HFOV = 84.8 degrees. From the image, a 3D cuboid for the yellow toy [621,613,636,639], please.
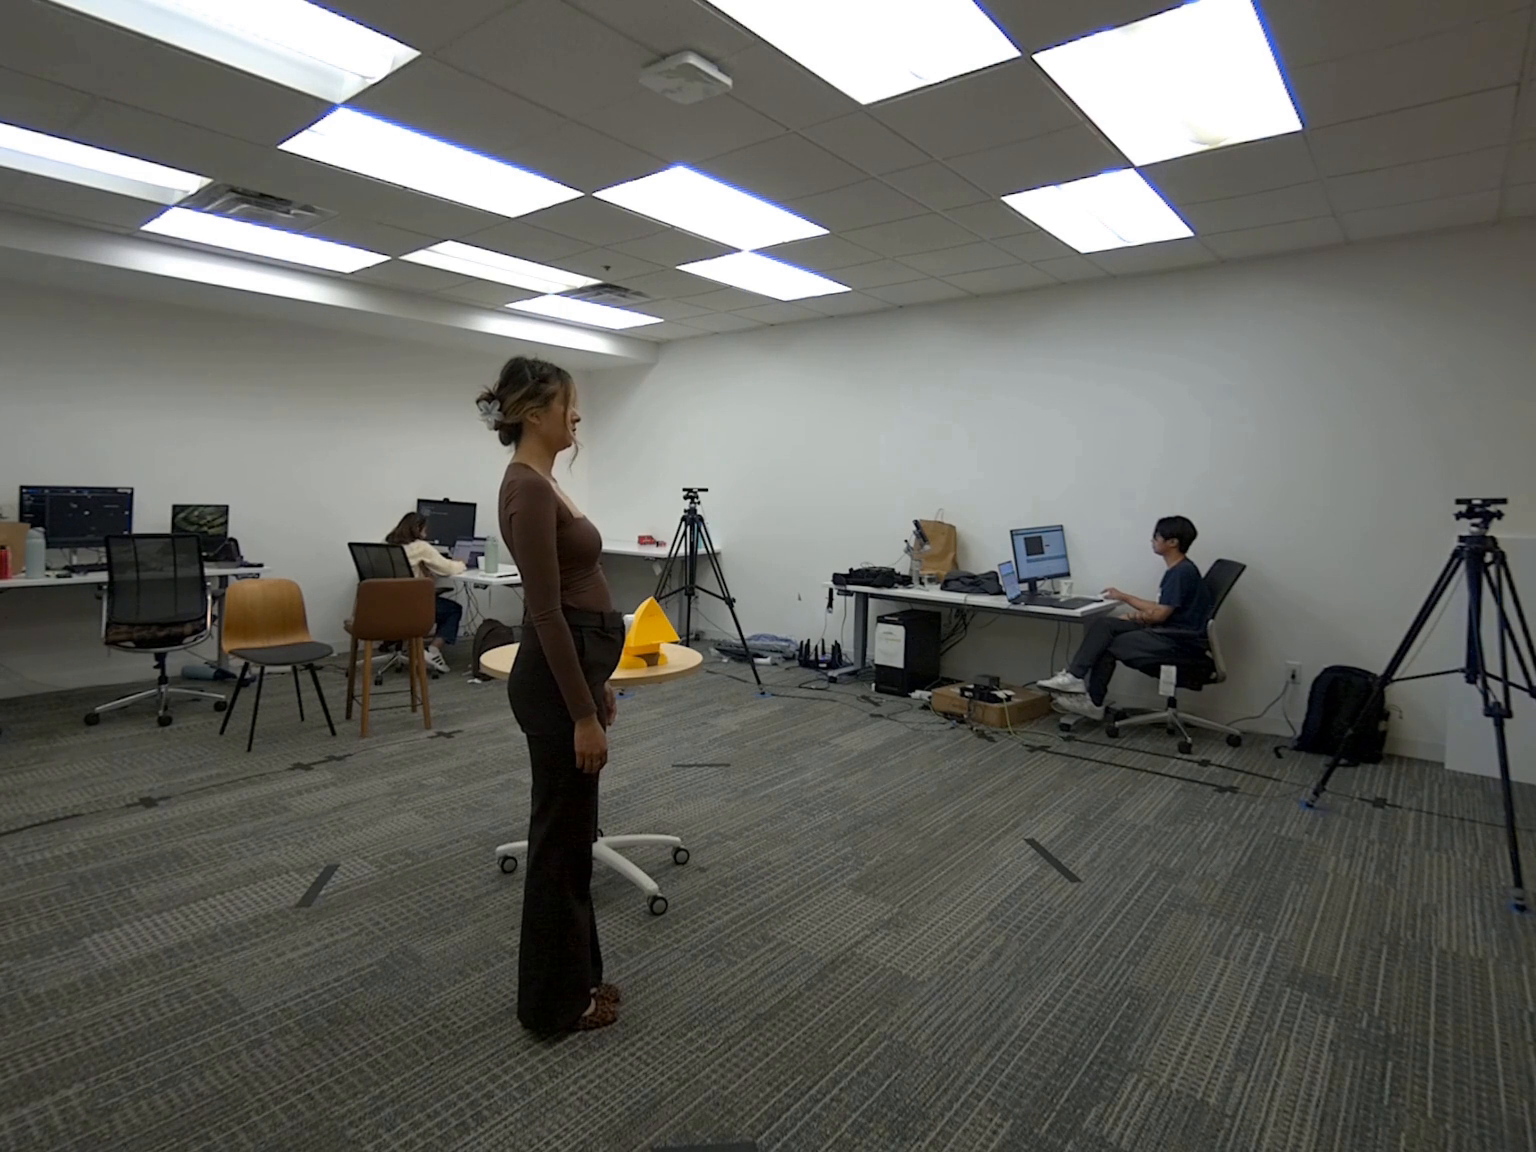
[{"bbox_3d":[-0.437,0.177,2.861,0.199,0.230,0.198,3,4,44],"label":"yellow toy"}]
